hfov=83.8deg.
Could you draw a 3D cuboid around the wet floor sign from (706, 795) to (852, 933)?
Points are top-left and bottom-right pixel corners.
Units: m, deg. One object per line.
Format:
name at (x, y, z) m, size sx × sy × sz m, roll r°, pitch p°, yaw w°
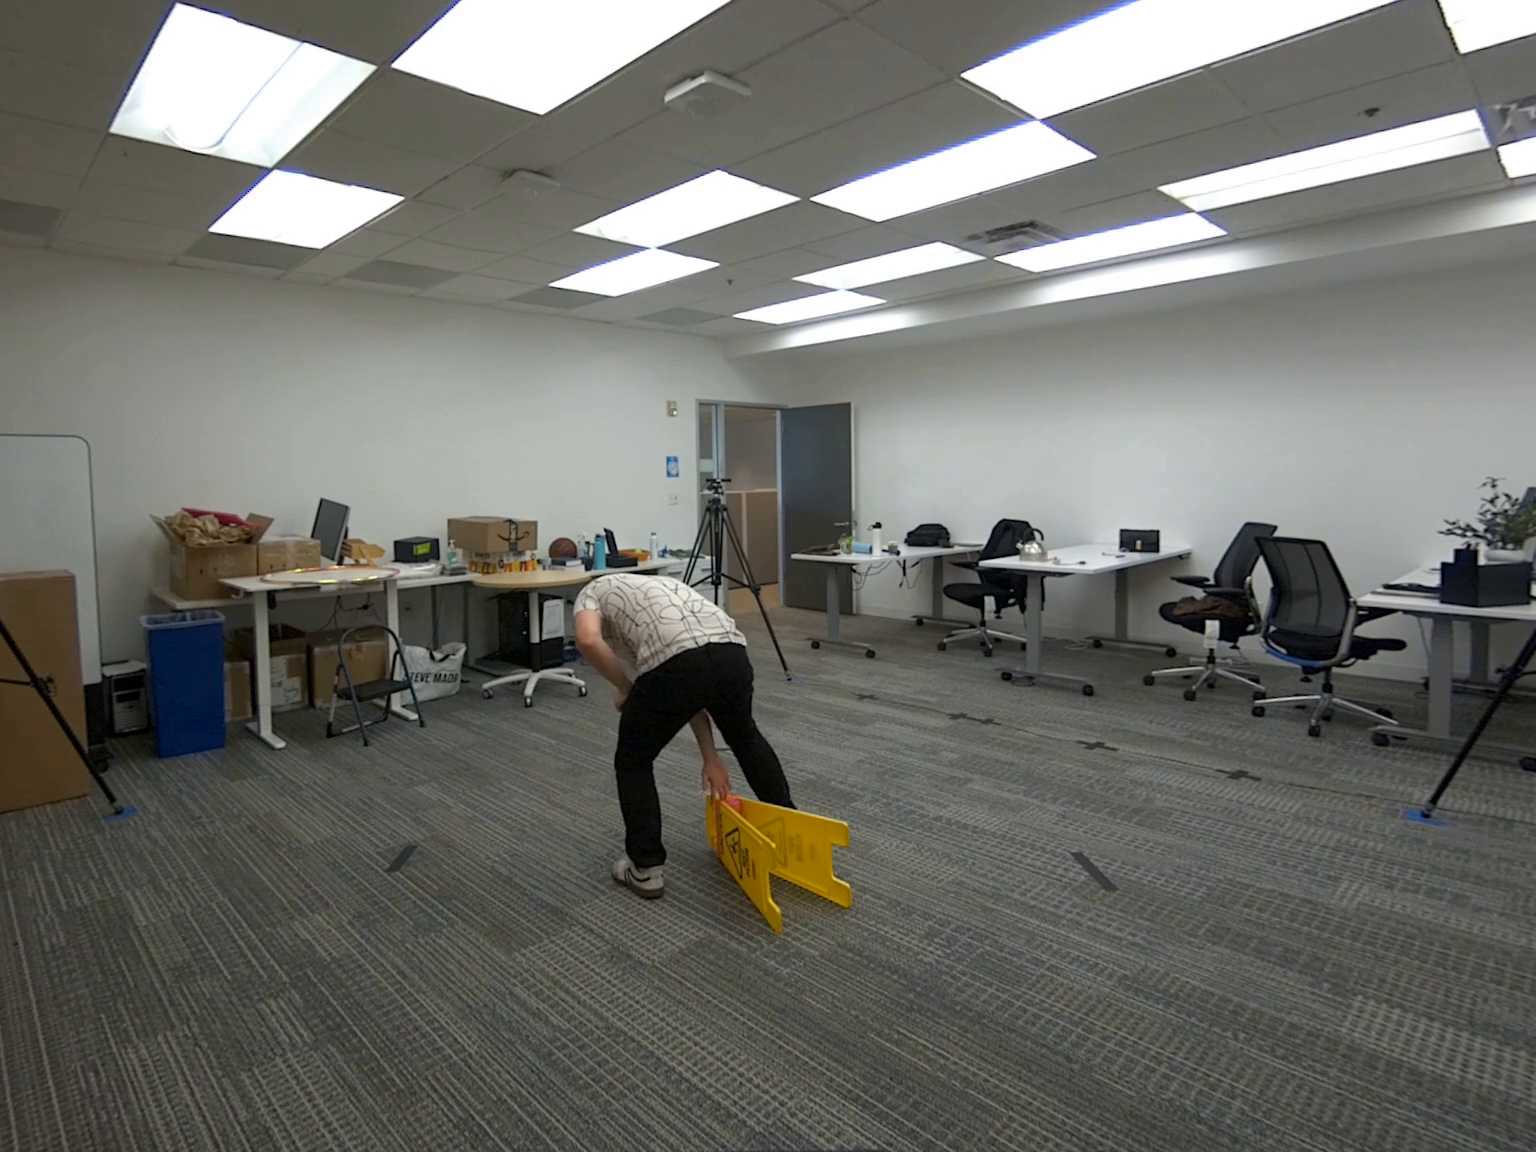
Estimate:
wet floor sign at (-0.037, 0.933, 2.957) m, size 0.282 × 0.281 × 0.664 m, roll -4°, pitch 5°, yaw -34°
